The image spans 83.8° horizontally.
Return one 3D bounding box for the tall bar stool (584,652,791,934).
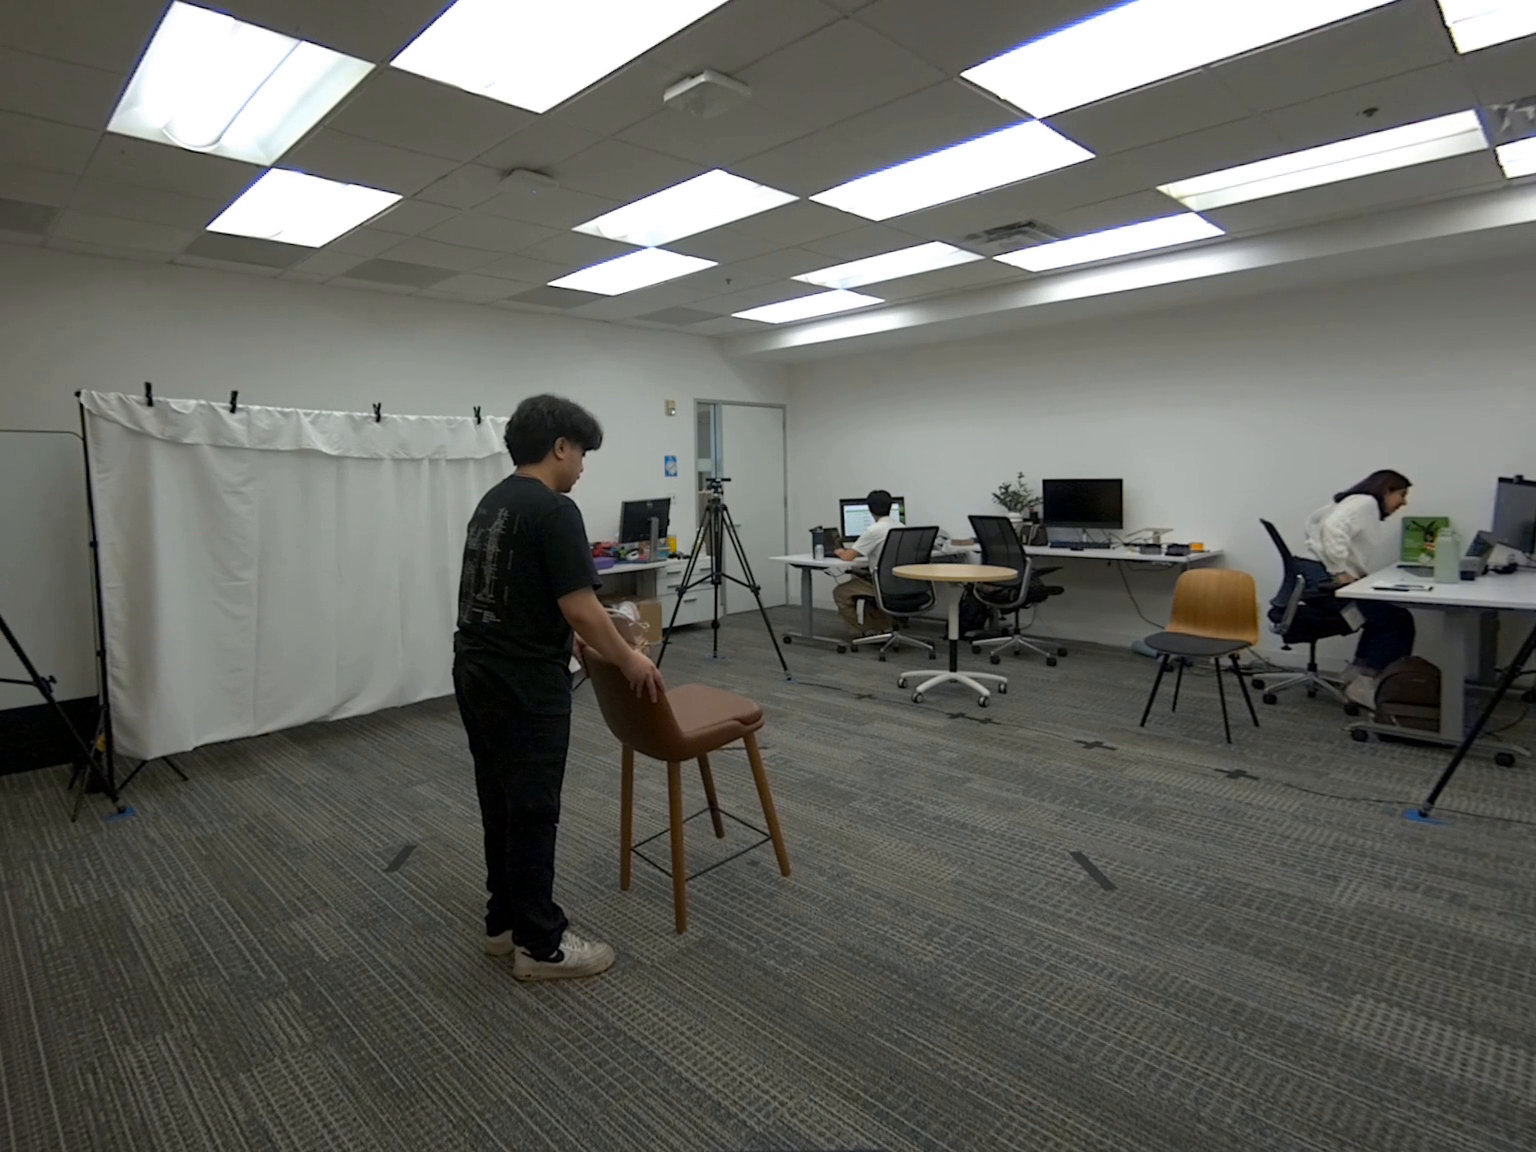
[{"bbox_3d":[-0.278,0.617,2.840,0.458,0.880,0.470,-16,13,-36],"label":"tall bar stool"}]
